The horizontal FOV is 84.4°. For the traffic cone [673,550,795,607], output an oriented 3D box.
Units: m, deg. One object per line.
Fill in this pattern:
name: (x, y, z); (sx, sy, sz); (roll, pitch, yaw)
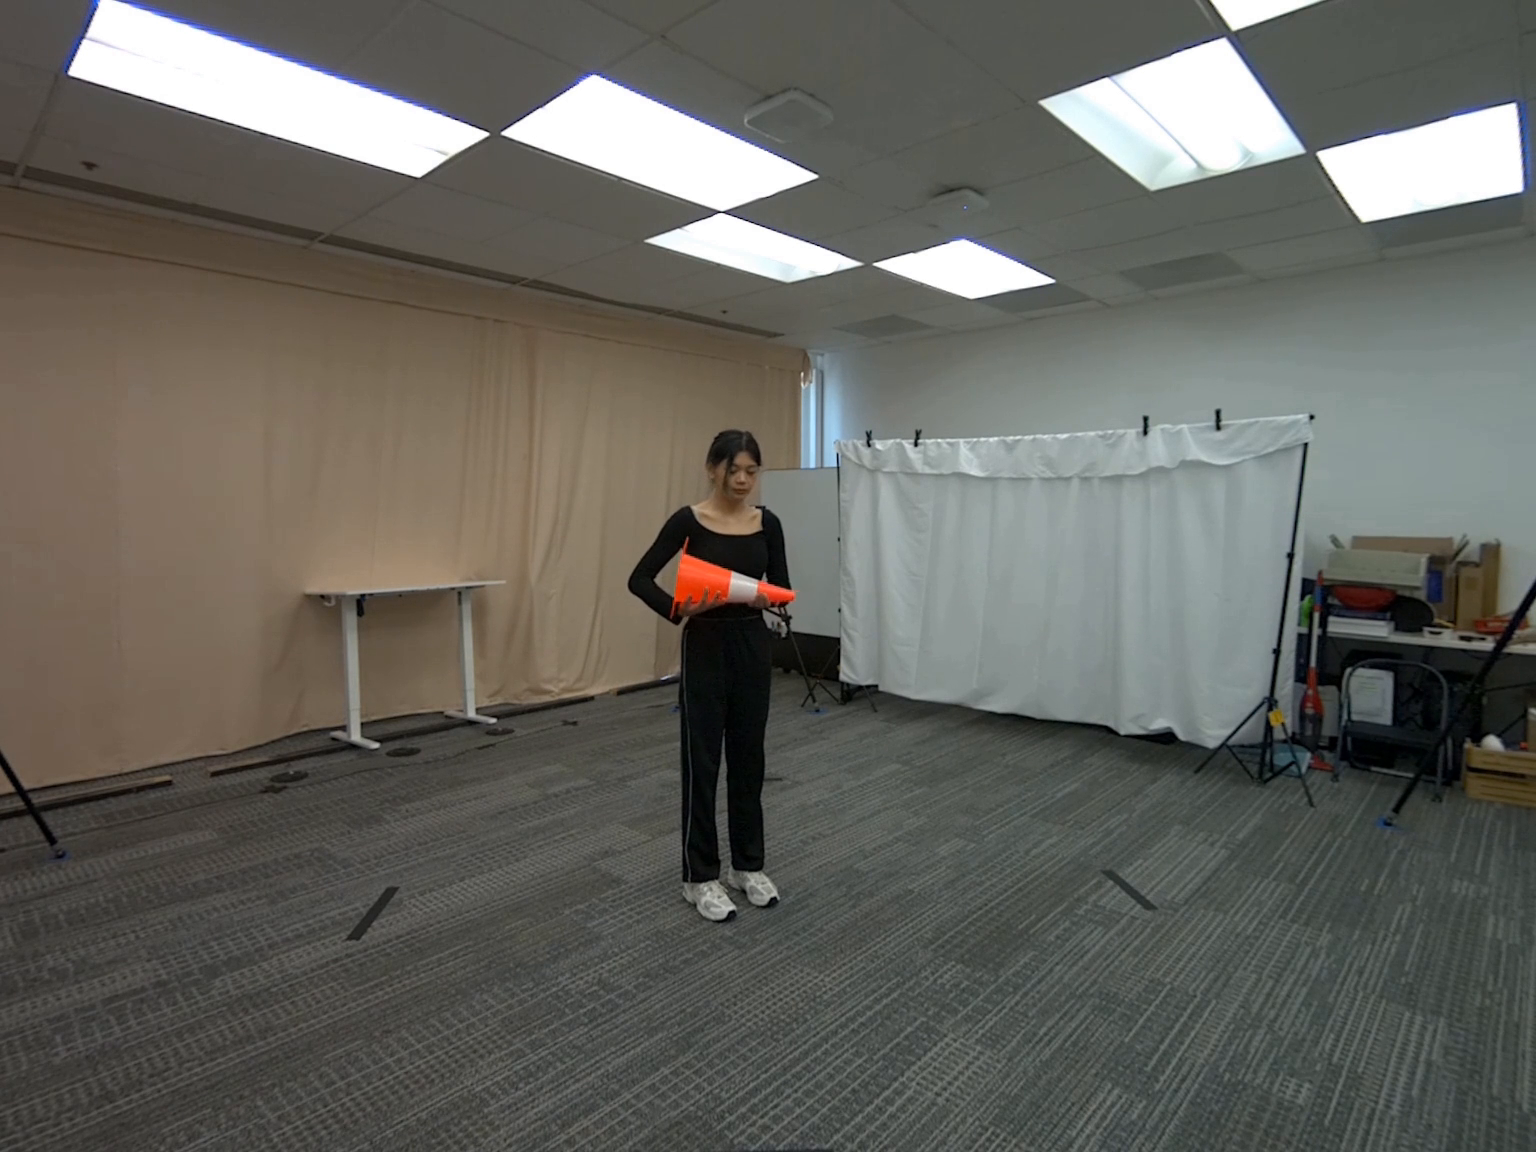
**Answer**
traffic cone: (-0.093, 0.032, 2.744); (0.382, 0.201, 0.208); (9, 36, -3)
